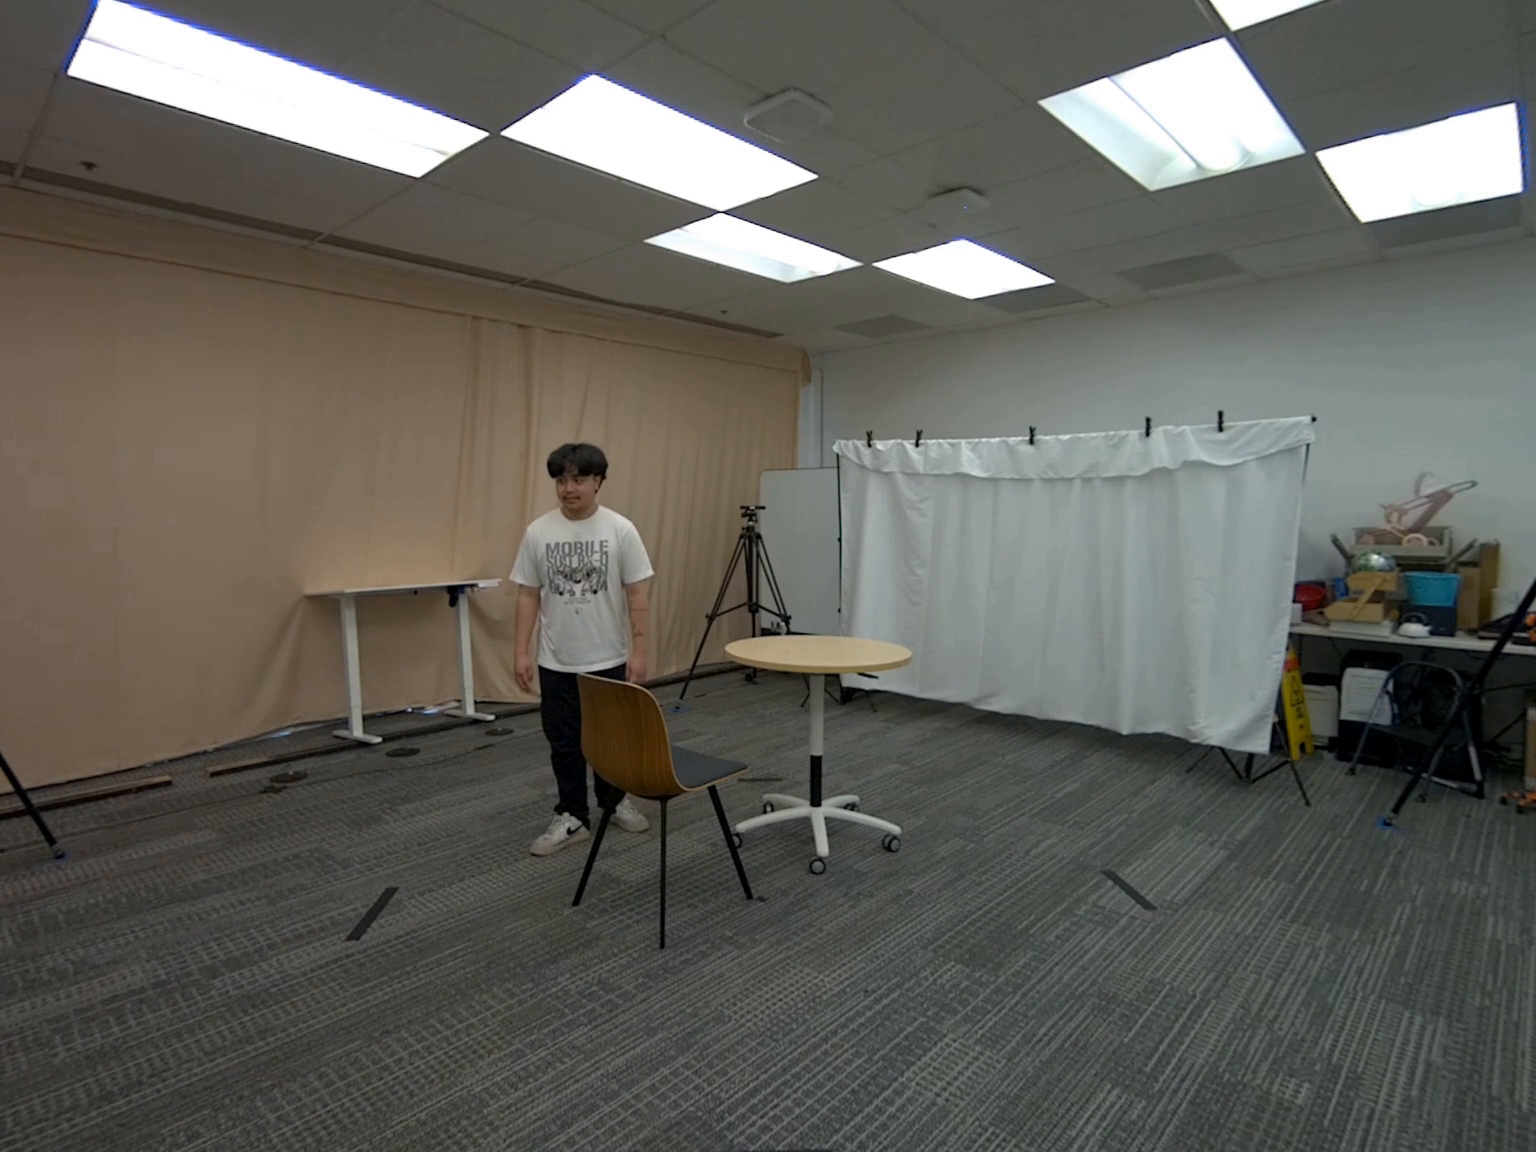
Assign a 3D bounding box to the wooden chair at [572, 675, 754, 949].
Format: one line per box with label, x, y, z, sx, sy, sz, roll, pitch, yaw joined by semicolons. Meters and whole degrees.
wooden chair;-0.363;0.723;2.938;0.494;0.873;0.508;2;8;40
